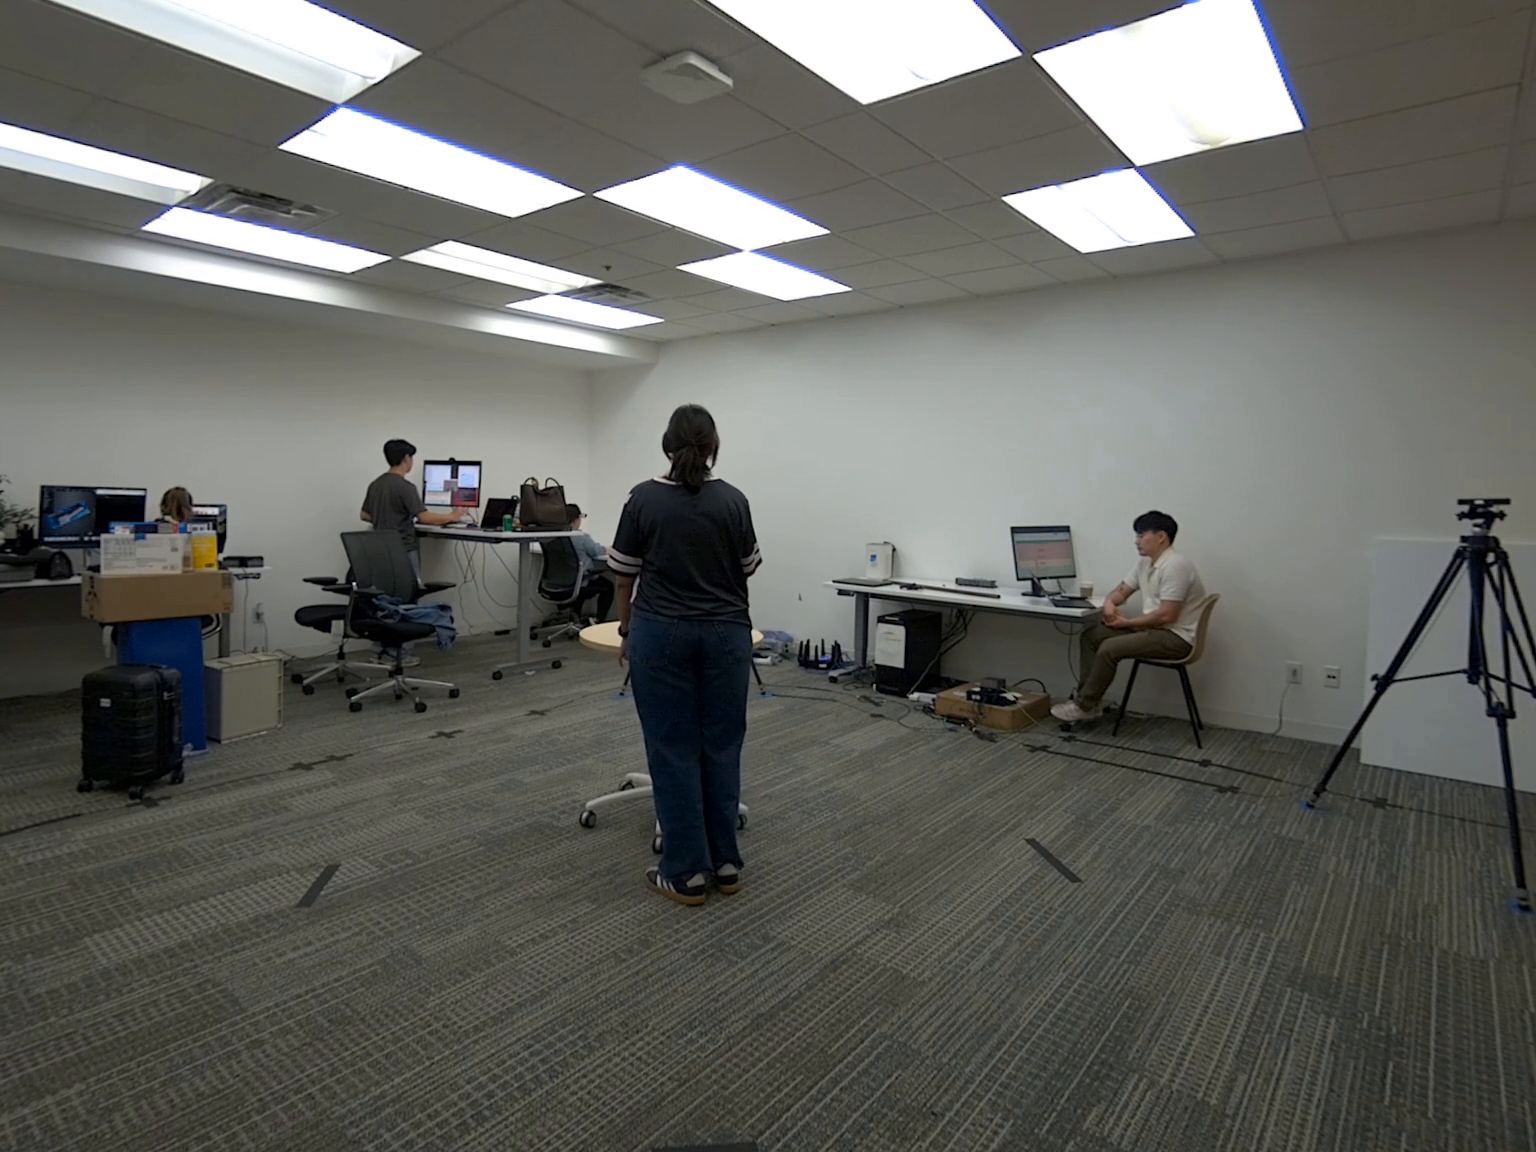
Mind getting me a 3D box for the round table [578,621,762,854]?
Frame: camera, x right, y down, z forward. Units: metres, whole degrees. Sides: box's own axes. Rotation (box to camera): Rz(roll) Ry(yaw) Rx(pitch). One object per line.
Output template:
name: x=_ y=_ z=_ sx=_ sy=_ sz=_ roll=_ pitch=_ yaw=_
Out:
round table: x=-0.428 y=0.626 z=3.562 sx=0.784 sy=0.785 sz=0.788 roll=1 pitch=3 yaw=-2
